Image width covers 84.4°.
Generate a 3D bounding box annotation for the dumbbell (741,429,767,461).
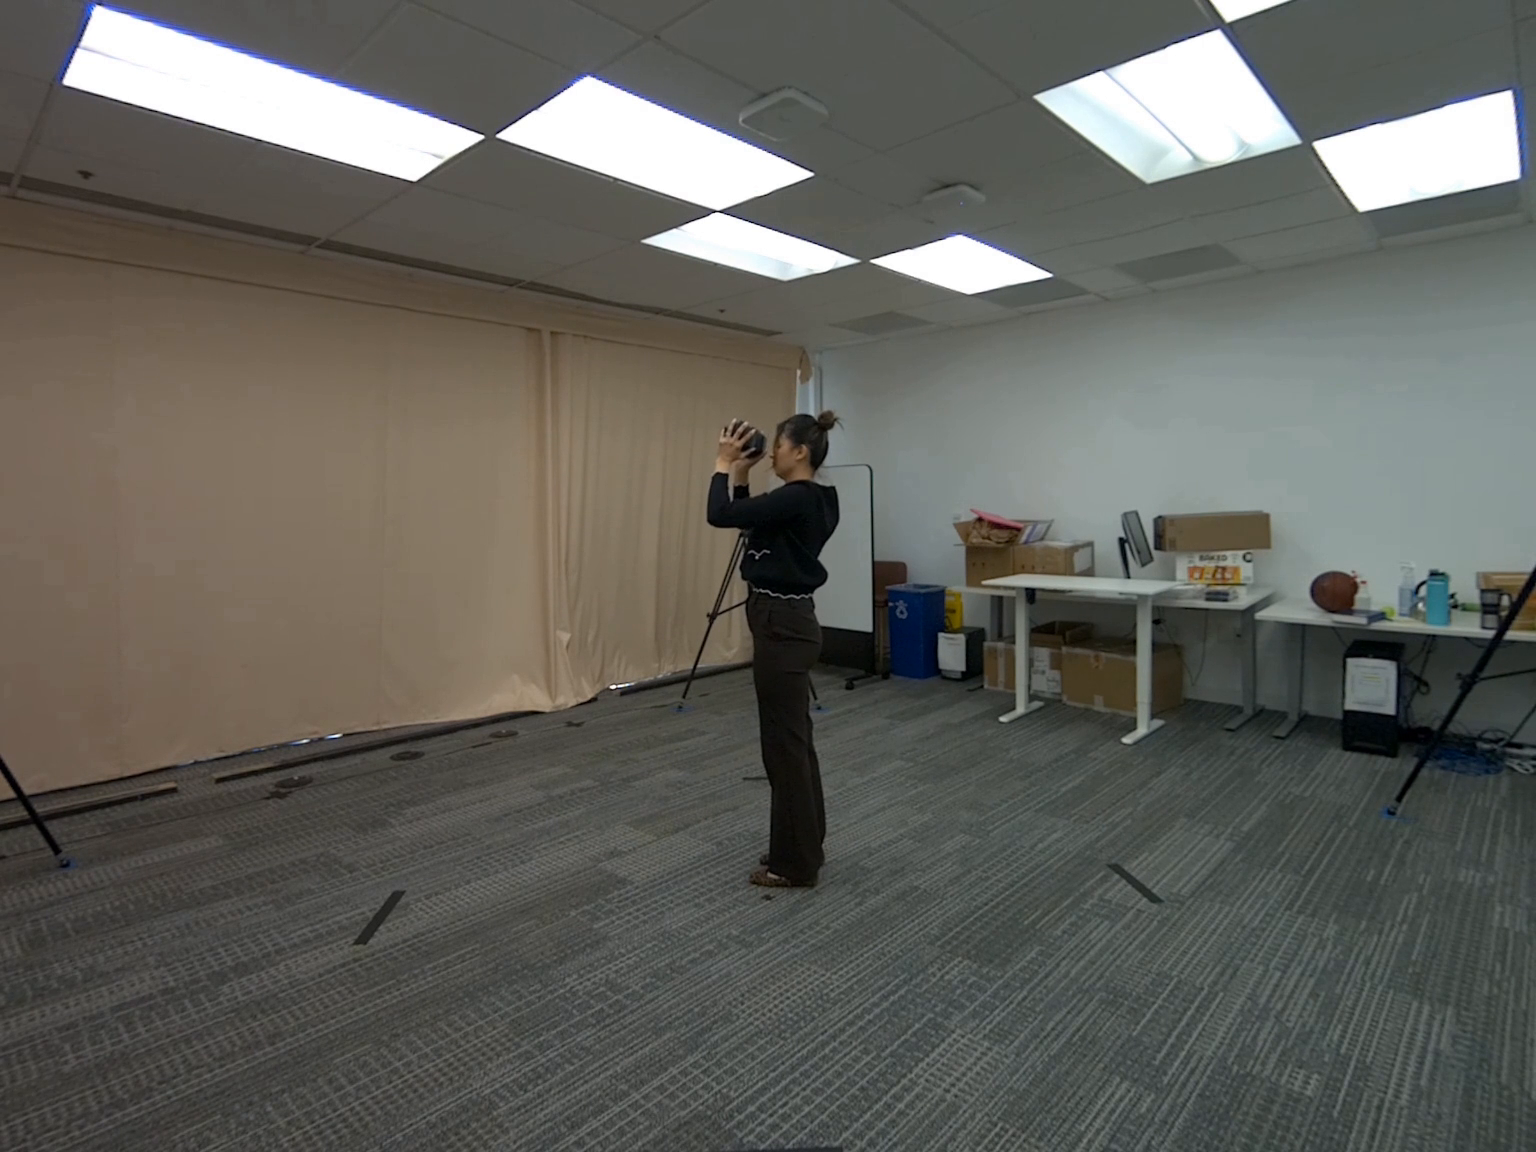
[{"bbox_3d":[-0.072,-0.504,3.162,0.124,0.109,0.290,-21,0,10],"label":"dumbbell"}]
